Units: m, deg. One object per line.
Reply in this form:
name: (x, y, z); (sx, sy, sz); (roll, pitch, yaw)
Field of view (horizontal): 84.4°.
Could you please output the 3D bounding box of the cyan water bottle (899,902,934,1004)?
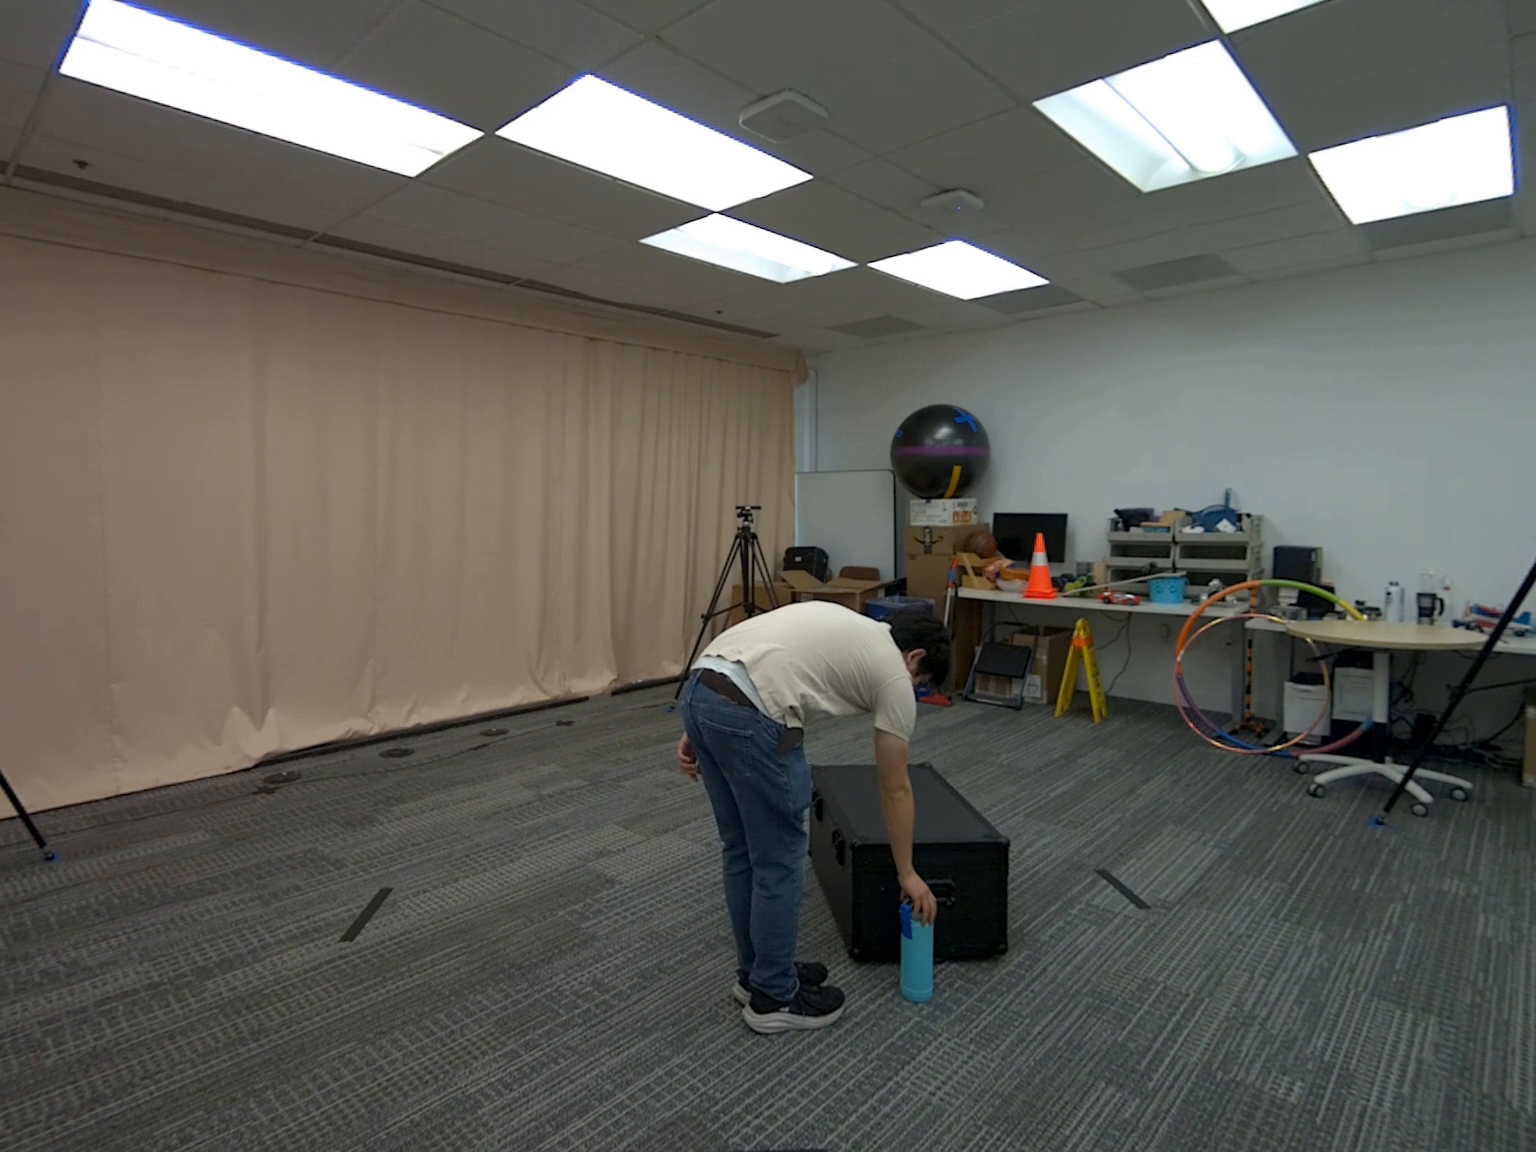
cyan water bottle: (0.421, 1.049, 2.399); (0.092, 0.283, 0.092); (1, 1, -2)
